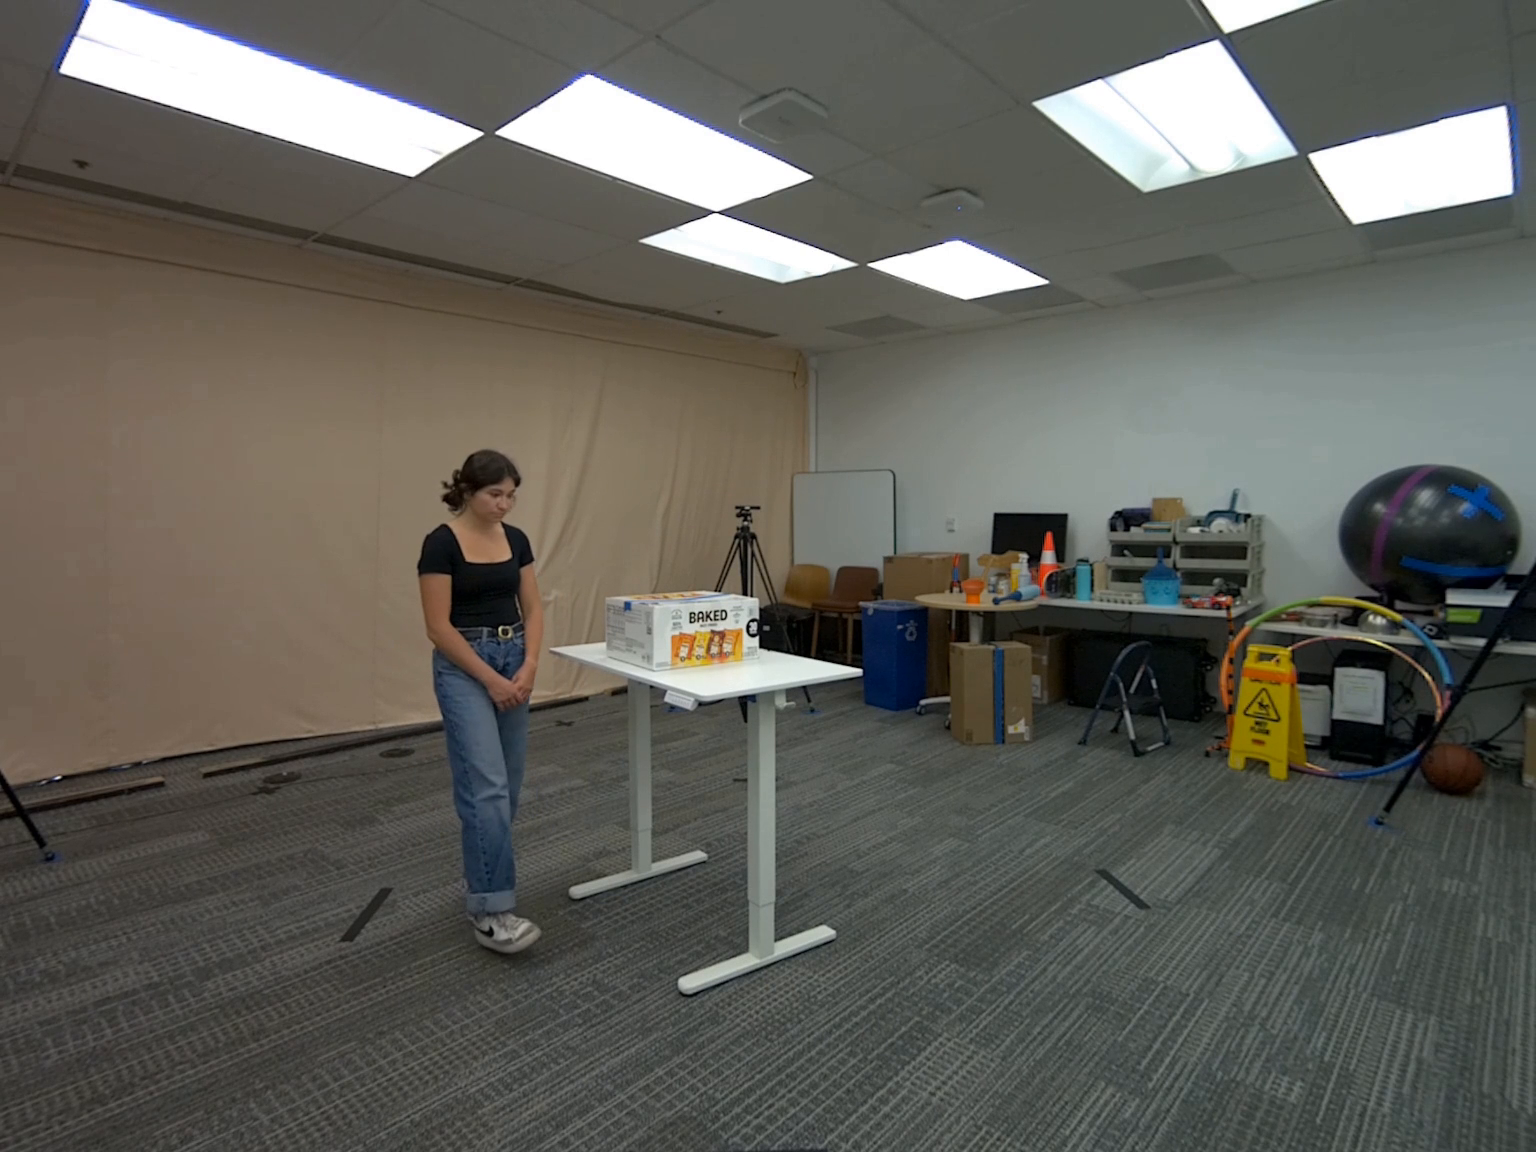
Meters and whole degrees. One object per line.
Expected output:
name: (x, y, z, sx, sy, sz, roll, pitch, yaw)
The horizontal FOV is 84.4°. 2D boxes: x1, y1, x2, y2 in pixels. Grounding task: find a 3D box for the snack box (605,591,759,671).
snack box: (-0.285, 0.175, 2.831, 0.393, 0.205, 0.351, -3, 4, -36)
